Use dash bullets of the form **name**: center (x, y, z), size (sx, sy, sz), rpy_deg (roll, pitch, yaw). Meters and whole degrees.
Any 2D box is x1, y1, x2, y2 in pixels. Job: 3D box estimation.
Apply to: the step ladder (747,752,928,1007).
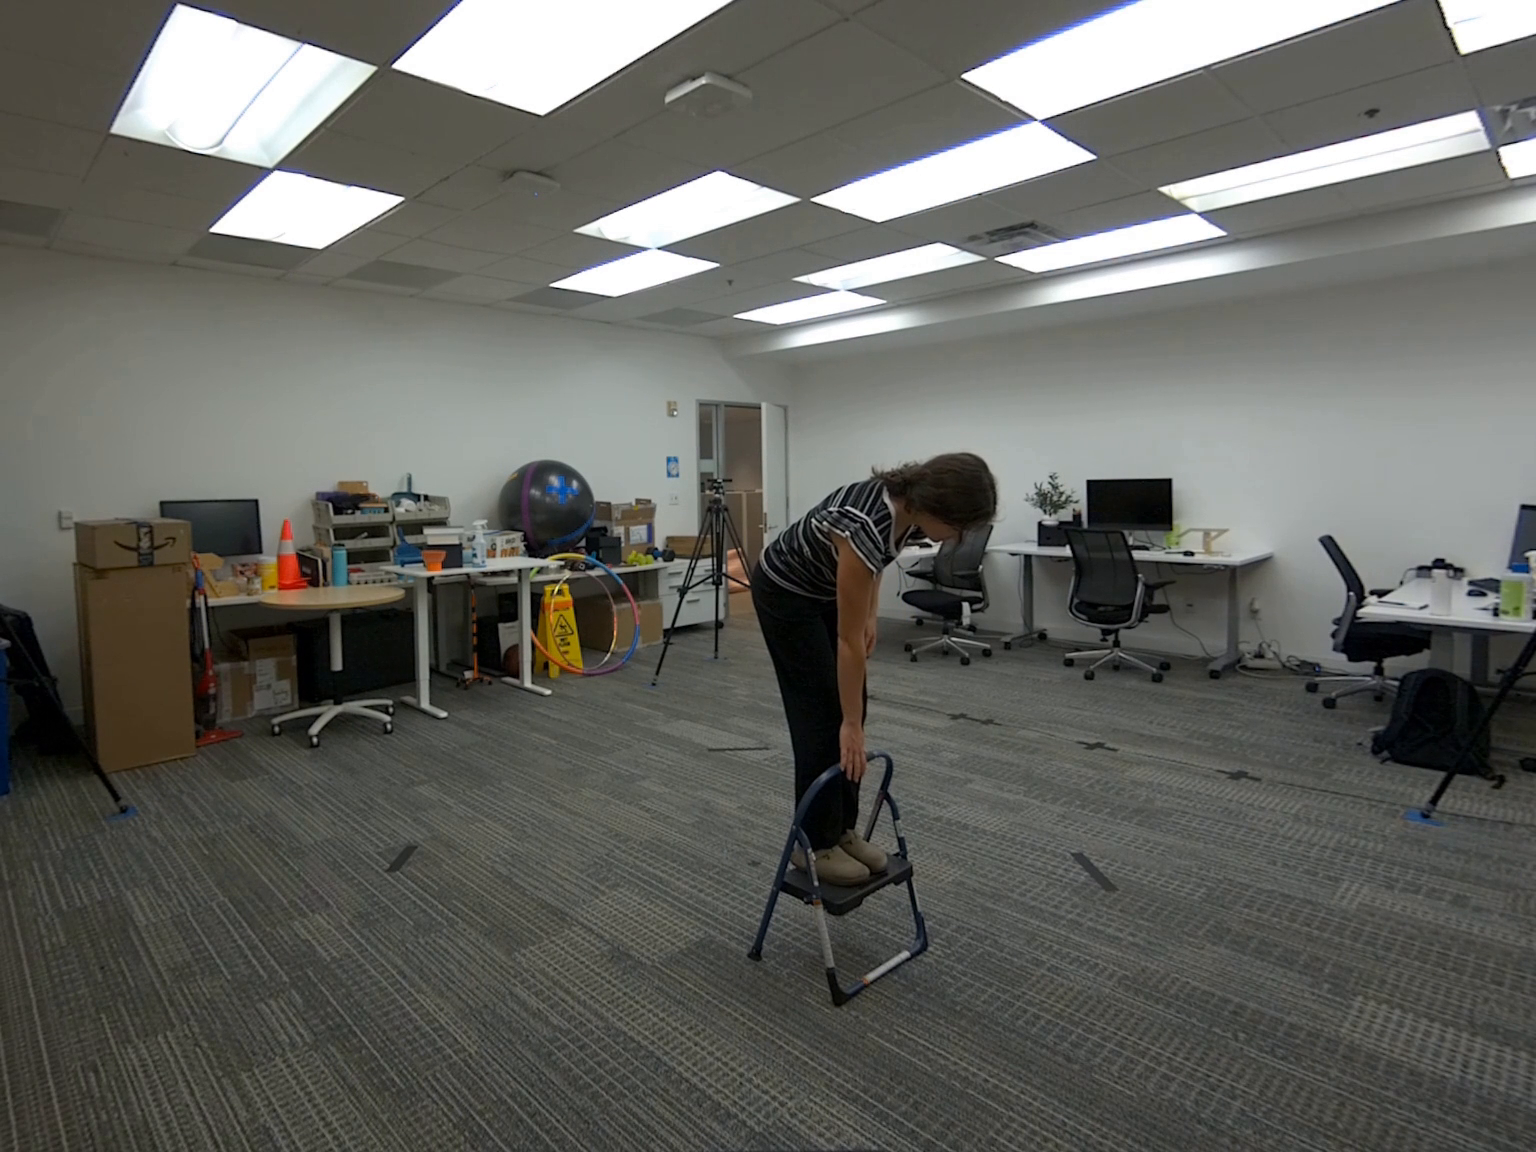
- **step ladder**: center (0.210, 0.810, 2.495), size (0.419, 0.603, 0.360), rpy_deg (-6, 7, -44)
